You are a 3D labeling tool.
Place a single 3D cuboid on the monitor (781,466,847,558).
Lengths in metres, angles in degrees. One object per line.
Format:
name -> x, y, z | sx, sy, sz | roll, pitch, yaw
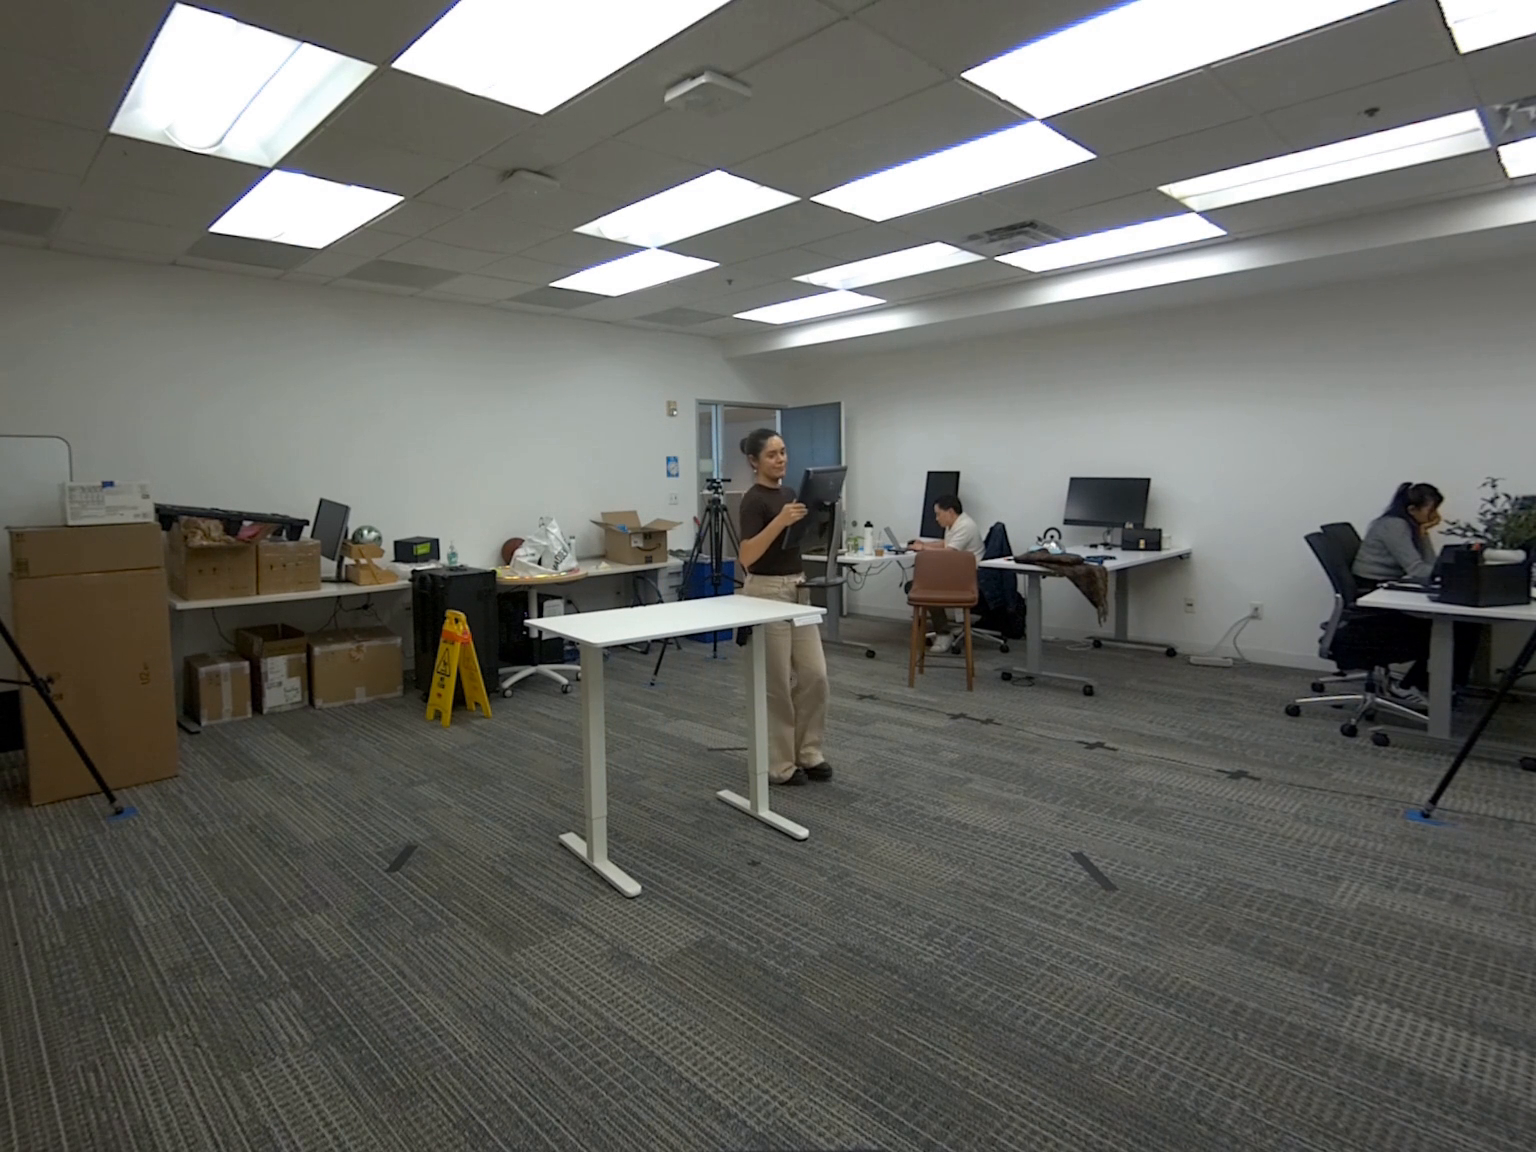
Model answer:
monitor -> 0.250, -0.219, 3.768 | 0.191, 0.519, 0.530 | 4, 9, 23
